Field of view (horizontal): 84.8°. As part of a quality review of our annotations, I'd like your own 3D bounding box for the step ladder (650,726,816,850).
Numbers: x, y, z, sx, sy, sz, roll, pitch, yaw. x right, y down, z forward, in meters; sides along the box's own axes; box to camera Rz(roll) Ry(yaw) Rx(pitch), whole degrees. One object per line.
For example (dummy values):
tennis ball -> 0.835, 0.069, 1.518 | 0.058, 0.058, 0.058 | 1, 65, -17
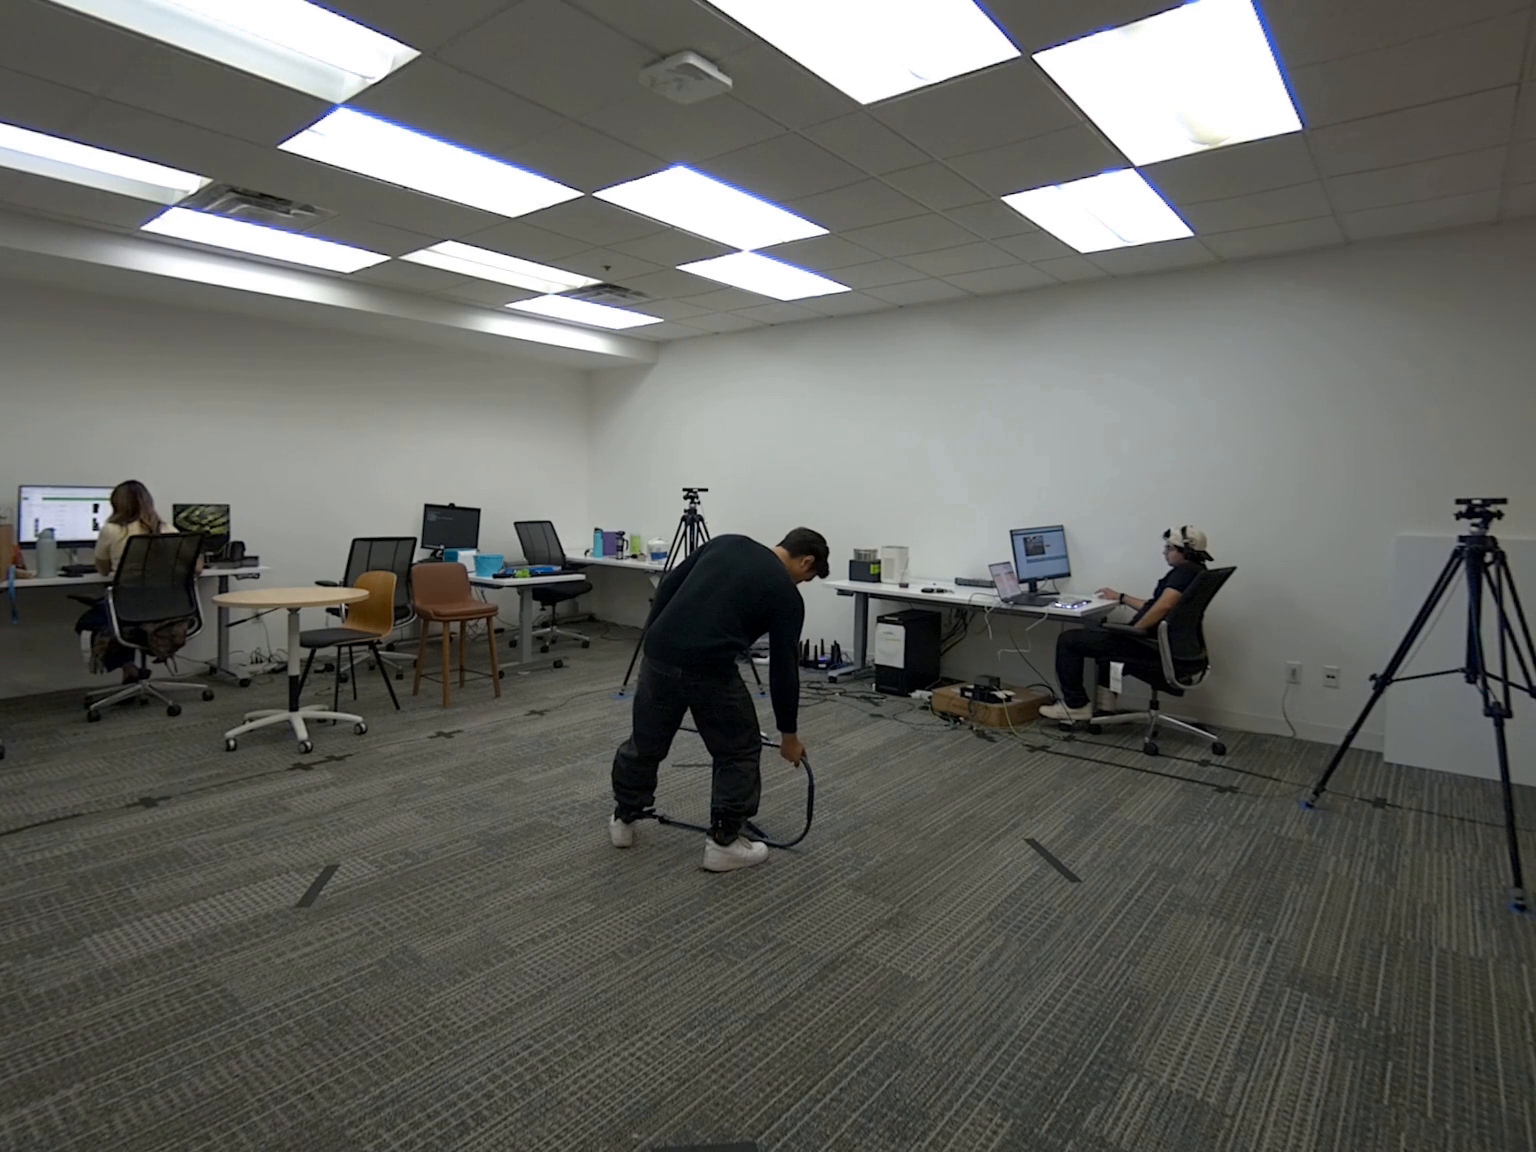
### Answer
step ladder -> -0.112, 0.832, 3.422 | 0.627, 0.429, 0.339 | 8, 7, 44
